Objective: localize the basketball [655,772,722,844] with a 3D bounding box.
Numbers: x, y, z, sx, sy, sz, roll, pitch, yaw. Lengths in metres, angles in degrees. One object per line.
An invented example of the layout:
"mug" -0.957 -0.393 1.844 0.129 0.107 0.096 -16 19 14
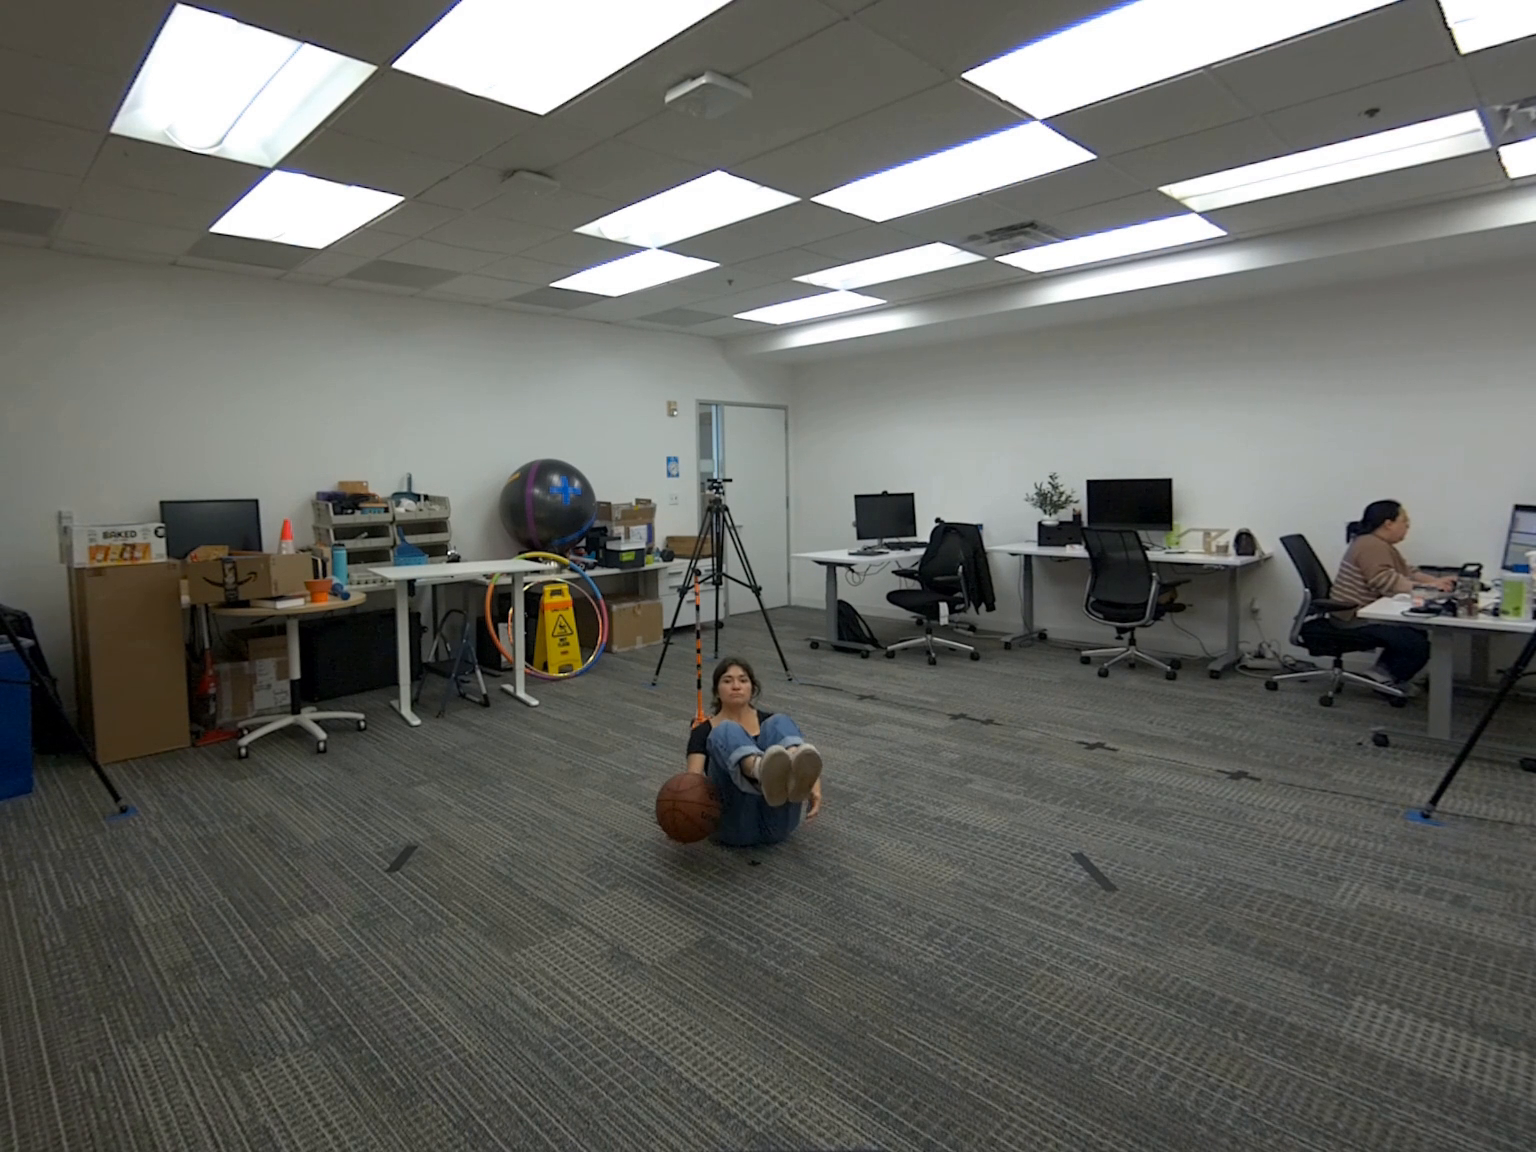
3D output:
"basketball" -0.269 0.812 3.052 0.236 0.235 0.237 -1 5 -2
